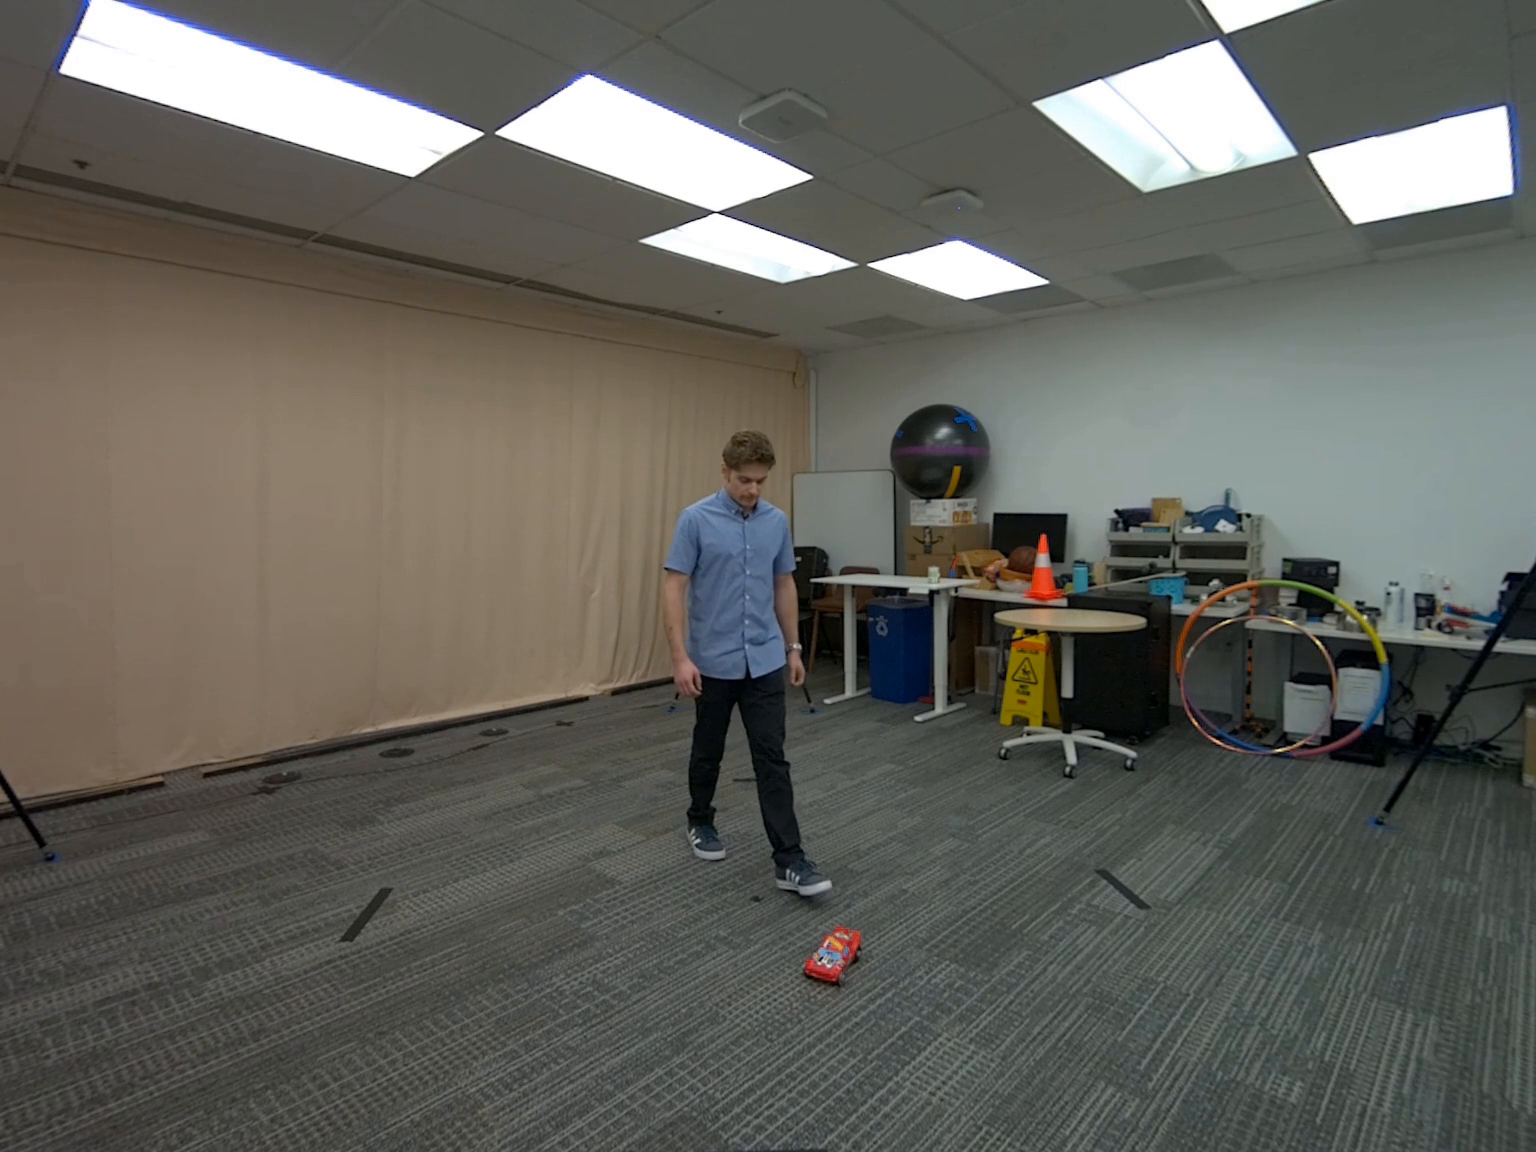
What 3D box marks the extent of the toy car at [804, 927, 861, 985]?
[{"bbox_3d":[0.209,1.152,2.550,0.134,0.082,0.250,2,16,28],"label":"toy car"}]
